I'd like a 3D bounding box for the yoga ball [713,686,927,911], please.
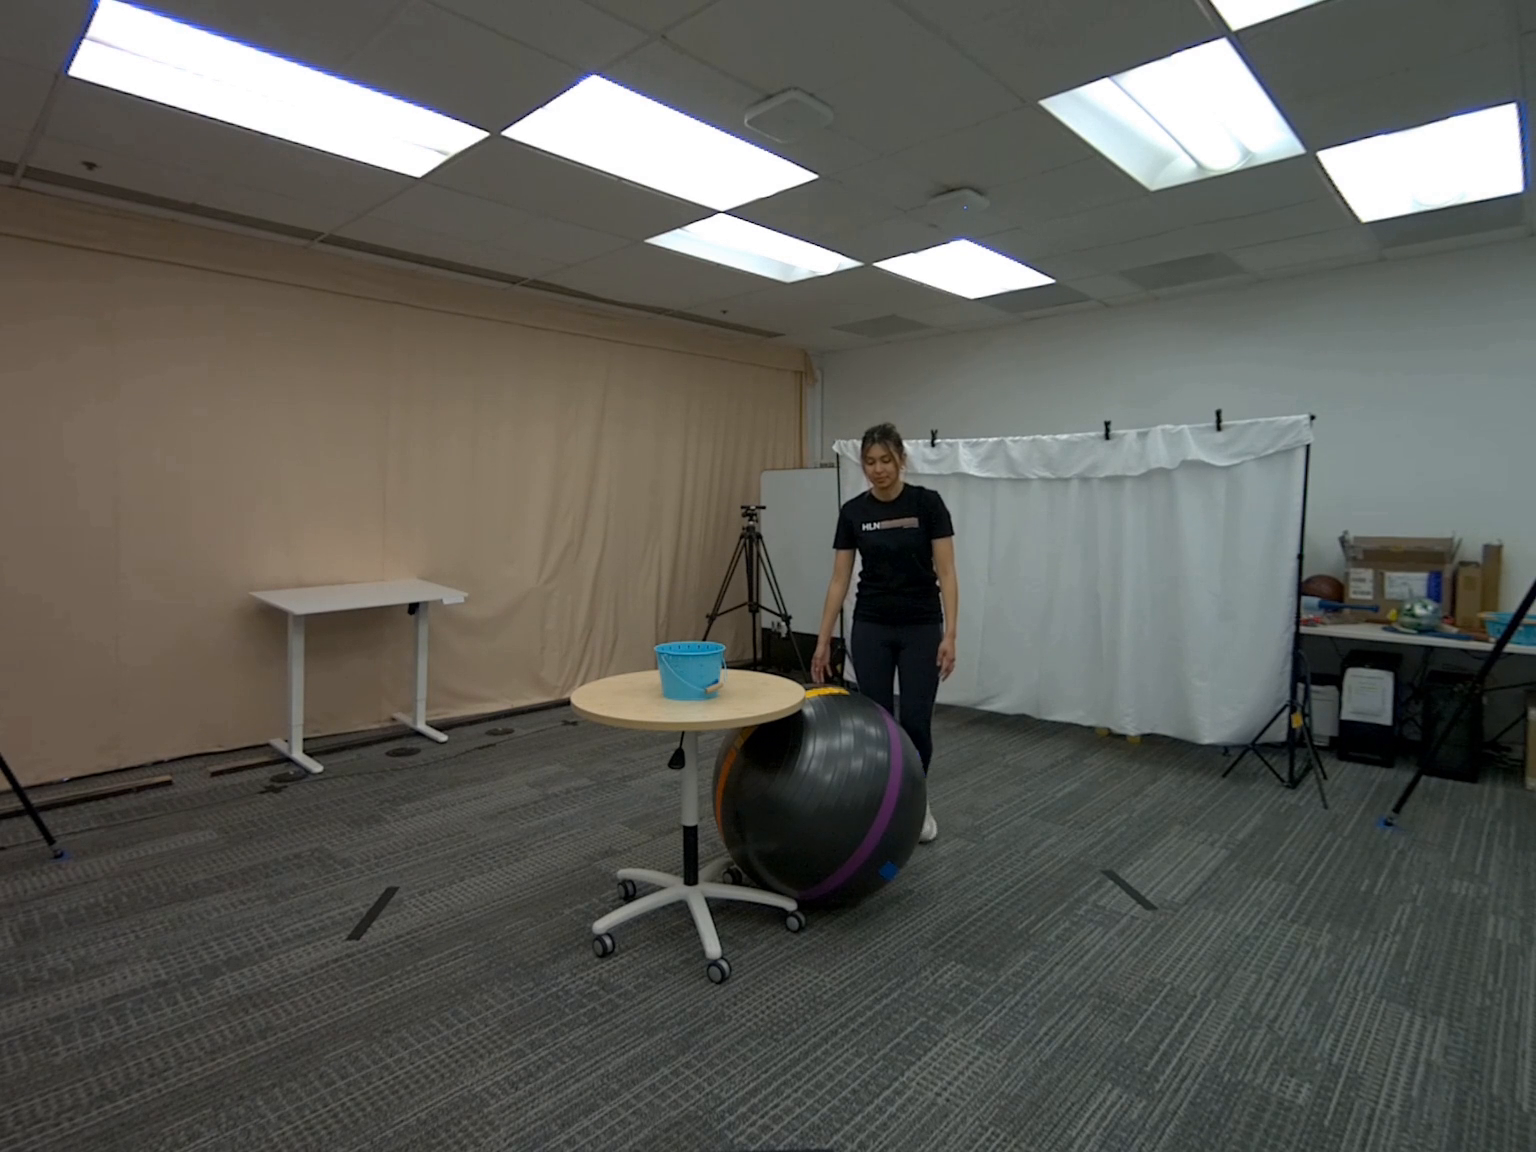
[{"bbox_3d":[0.181,0.770,3.000,0.757,0.756,0.761,0,4,-2],"label":"yoga ball"}]
